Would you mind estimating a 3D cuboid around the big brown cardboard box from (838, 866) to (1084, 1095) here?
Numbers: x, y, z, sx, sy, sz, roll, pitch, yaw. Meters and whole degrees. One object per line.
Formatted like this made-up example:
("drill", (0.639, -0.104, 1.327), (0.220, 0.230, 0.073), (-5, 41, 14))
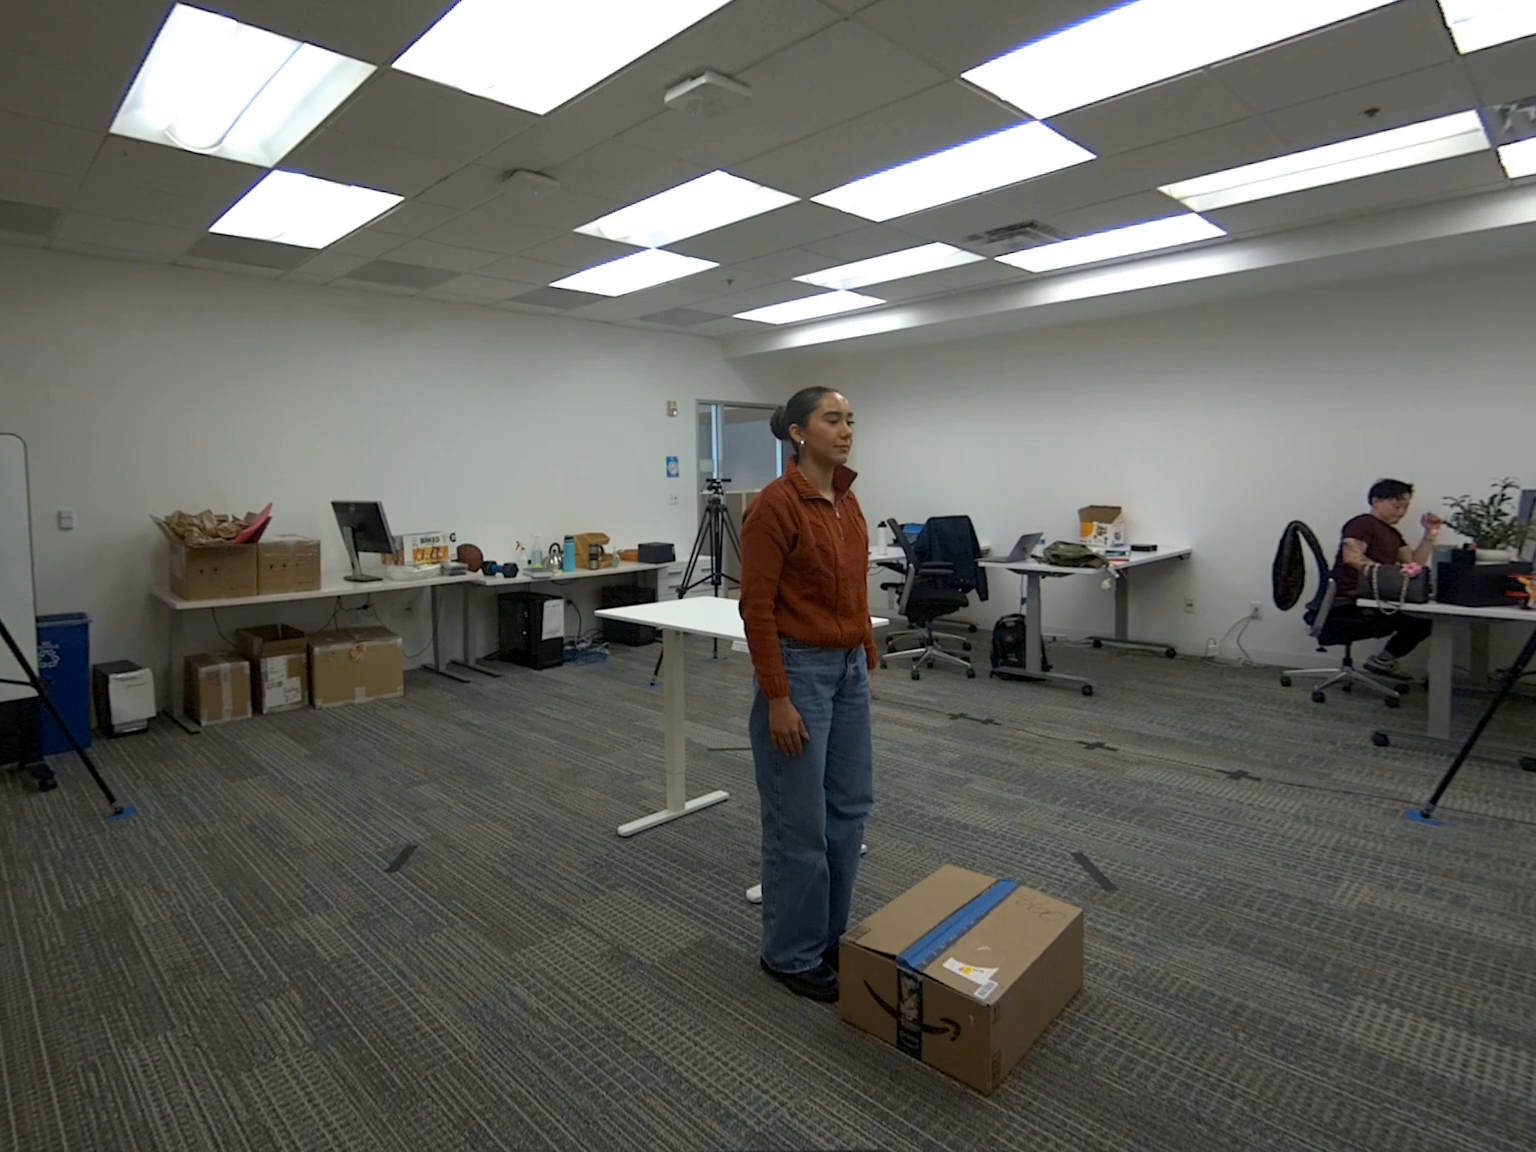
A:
("big brown cardboard box", (0.521, 1.020, 2.253), (0.430, 0.232, 0.573), (4, 7, 41))
